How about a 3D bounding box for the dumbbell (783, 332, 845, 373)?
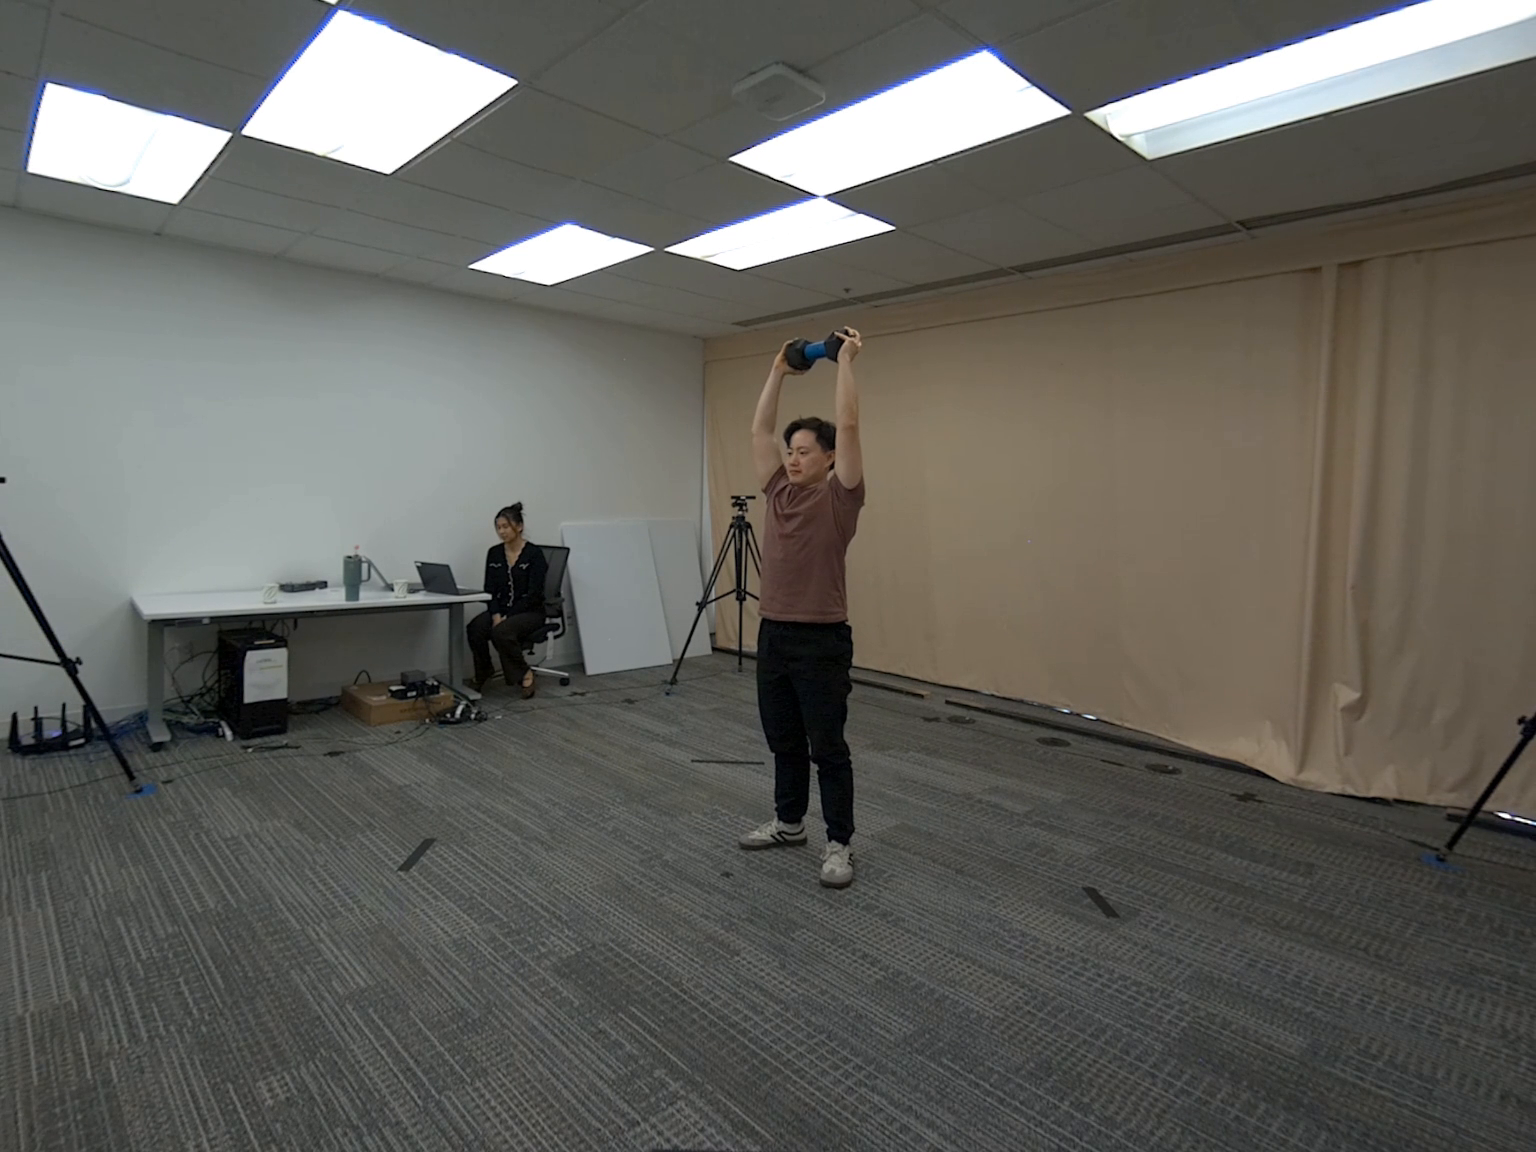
[{"bbox_3d":[0.189,-0.849,3.164,0.301,0.123,0.106,5,-38,50],"label":"dumbbell"}]
